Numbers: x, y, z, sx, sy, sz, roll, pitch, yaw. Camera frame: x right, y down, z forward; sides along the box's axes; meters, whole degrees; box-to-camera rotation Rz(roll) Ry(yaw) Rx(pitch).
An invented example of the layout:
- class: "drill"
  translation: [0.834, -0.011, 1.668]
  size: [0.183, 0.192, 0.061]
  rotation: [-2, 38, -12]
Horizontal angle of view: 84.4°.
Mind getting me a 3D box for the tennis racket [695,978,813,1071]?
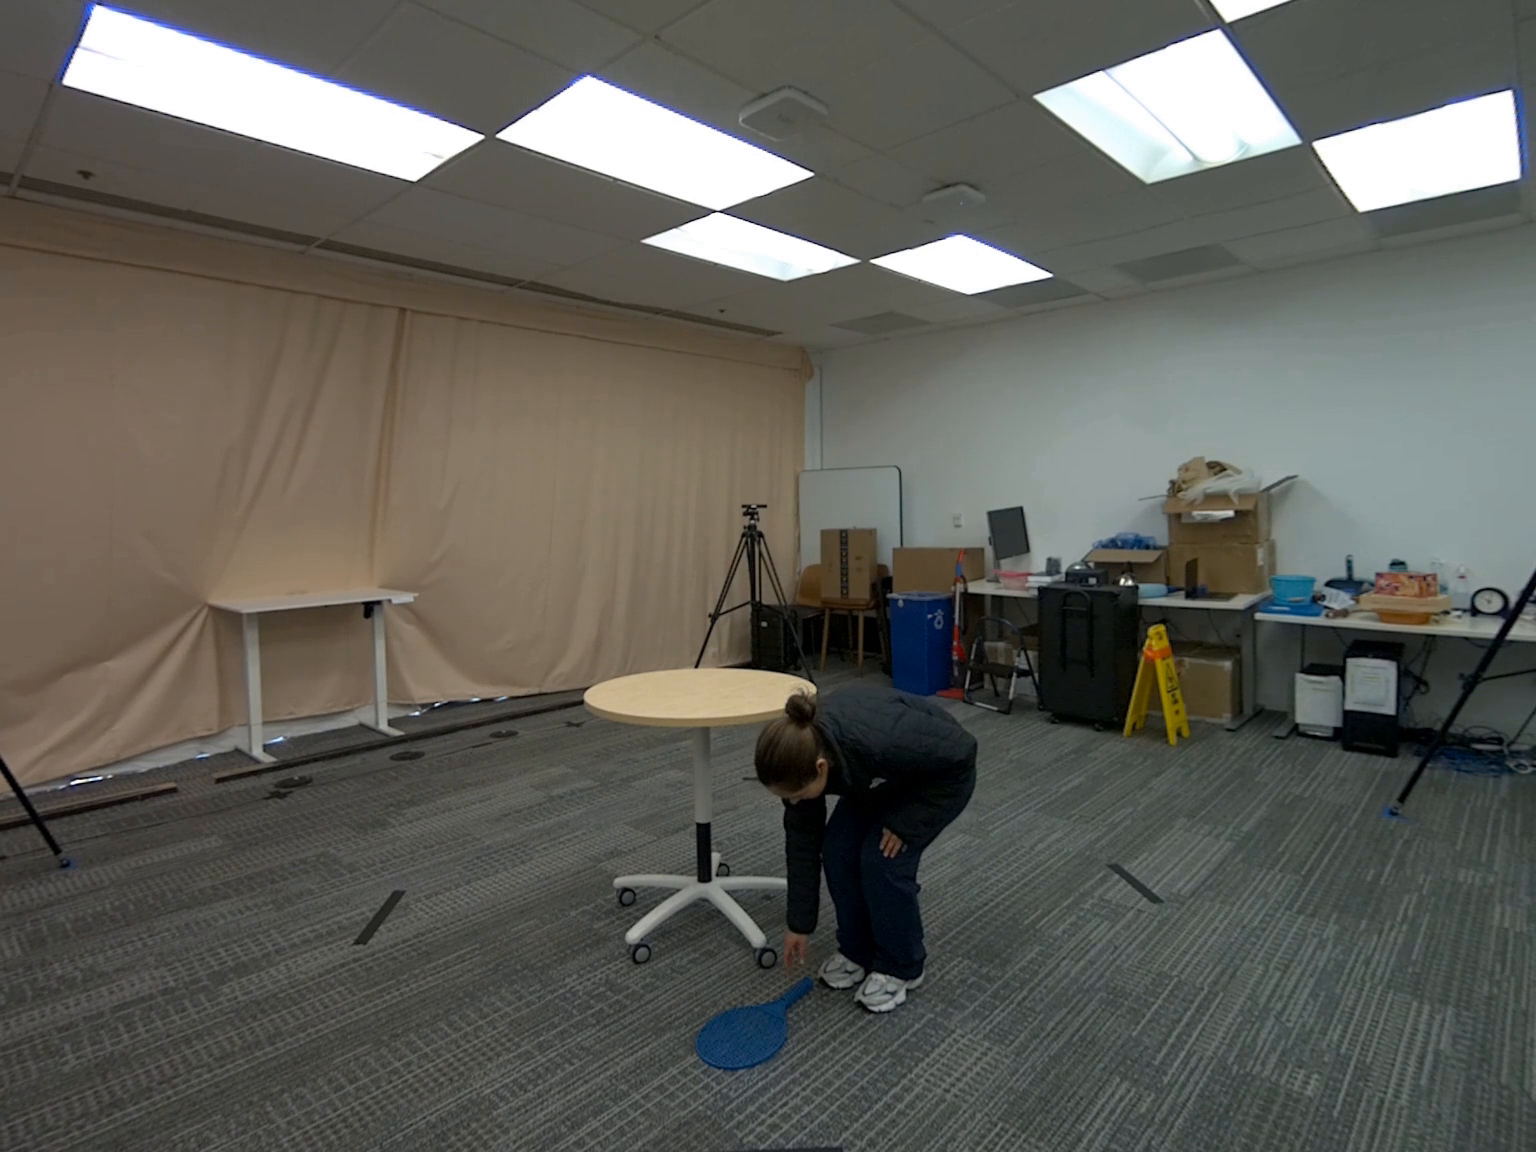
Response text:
- class: "tennis racket"
  translation: [0.008, 1.192, 2.256]
  size: [0.221, 0.031, 0.420]
  rotation: [3, 8, 44]
